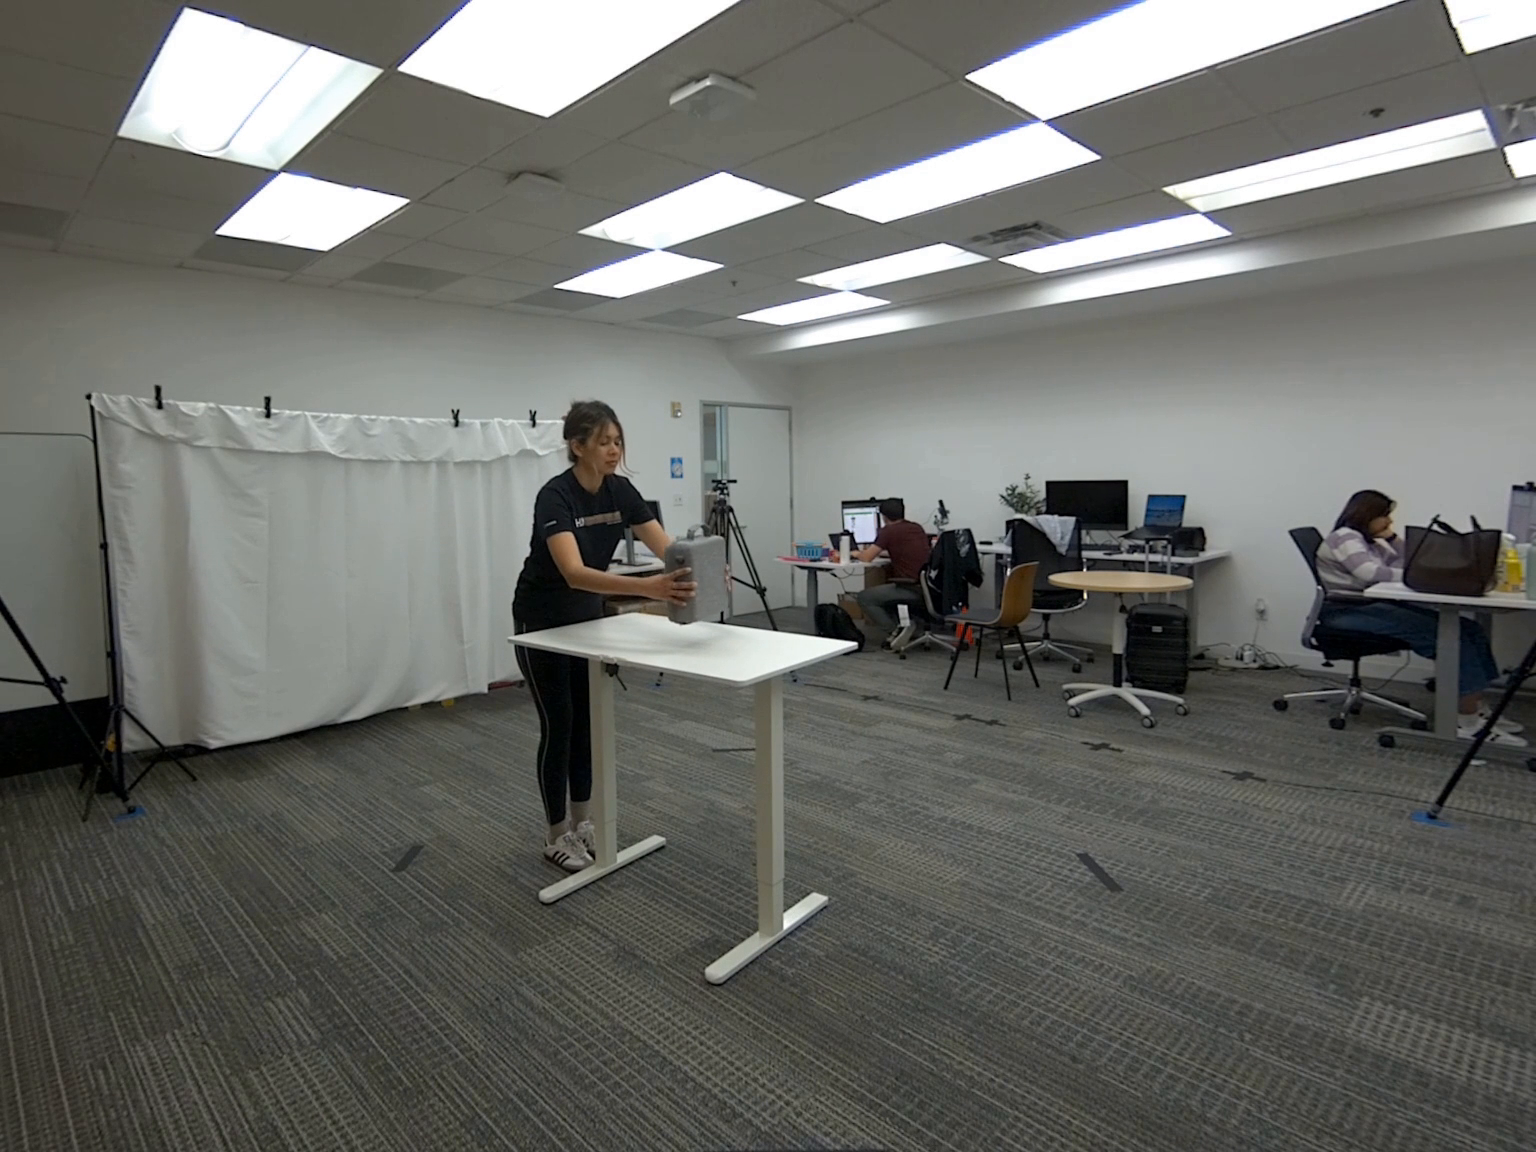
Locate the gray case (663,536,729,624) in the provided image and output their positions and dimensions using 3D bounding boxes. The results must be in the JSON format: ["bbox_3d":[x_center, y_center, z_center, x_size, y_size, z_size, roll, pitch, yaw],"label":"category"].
[{"bbox_3d":[-0.219,0.005,2.681,0.106,0.259,0.253,-1,8,23],"label":"gray case"}]
